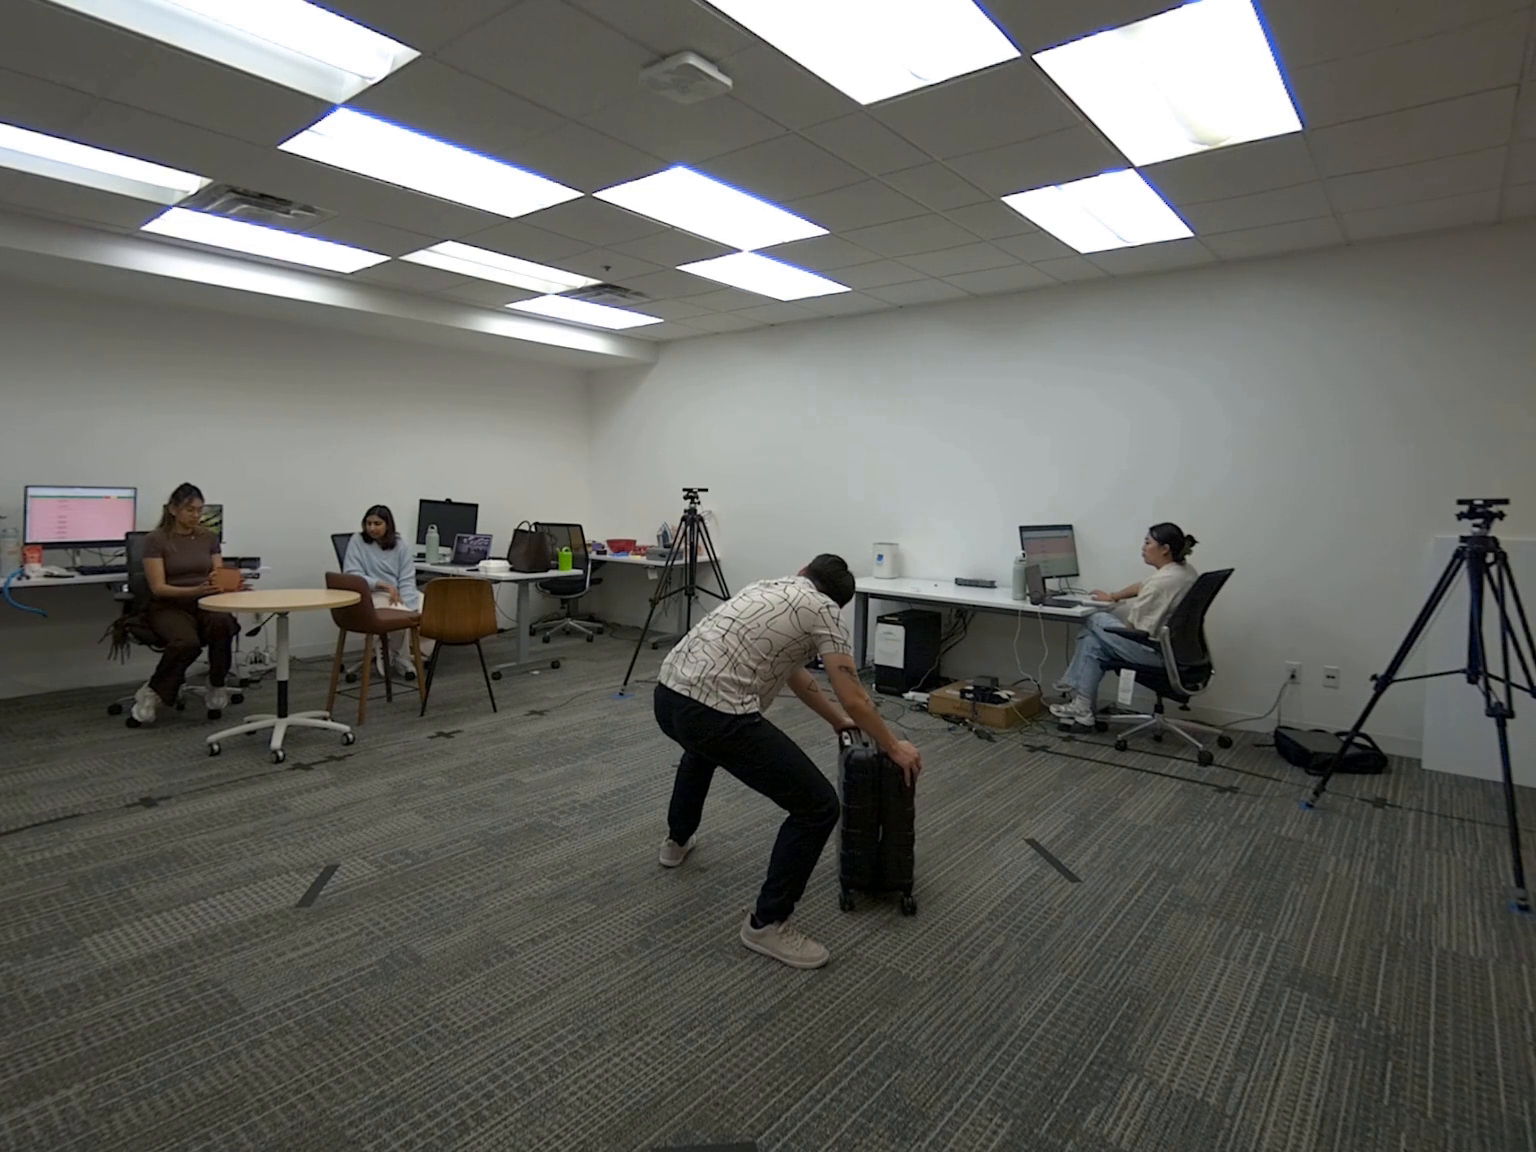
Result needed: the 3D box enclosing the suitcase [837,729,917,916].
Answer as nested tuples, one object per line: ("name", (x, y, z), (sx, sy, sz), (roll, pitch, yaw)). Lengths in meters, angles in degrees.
("suitcase", (0.366, 0.818, 2.984), (0.249, 0.548, 0.374), (0, 2, 3))
